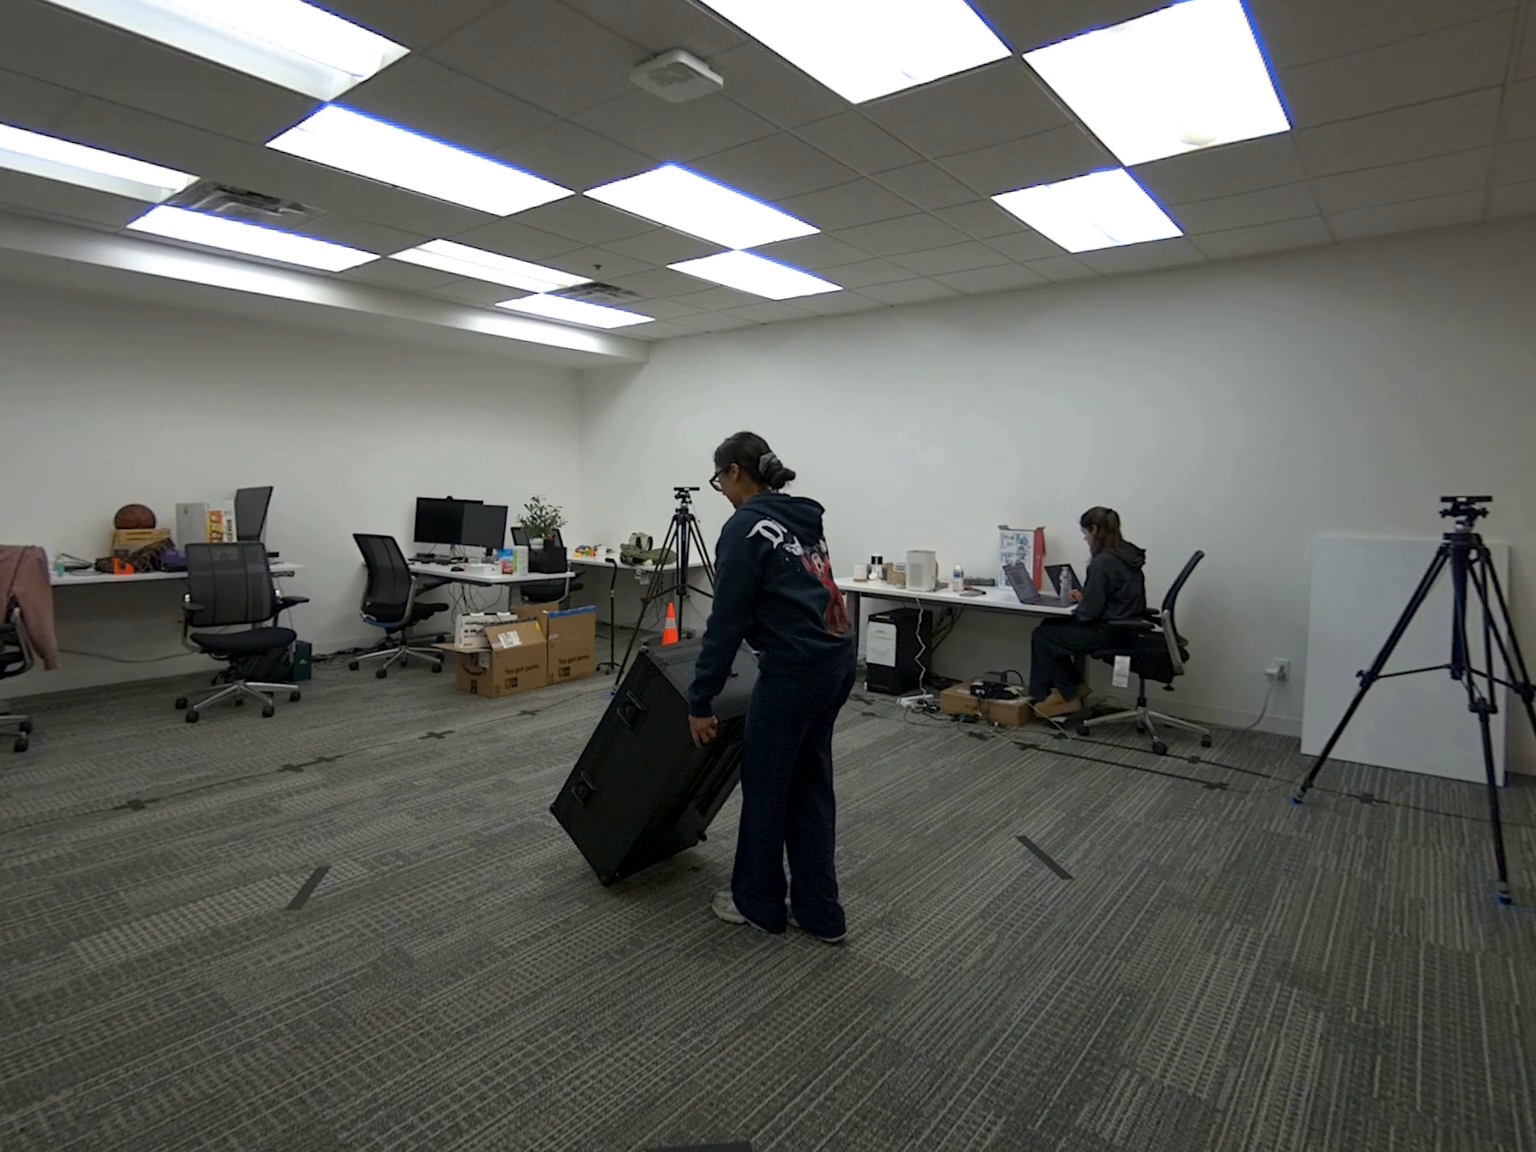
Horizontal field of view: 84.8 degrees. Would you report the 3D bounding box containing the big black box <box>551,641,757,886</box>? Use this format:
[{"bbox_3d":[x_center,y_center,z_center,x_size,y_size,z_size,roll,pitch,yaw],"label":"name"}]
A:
[{"bbox_3d":[-0.363,0.663,3.015,0.410,0.856,0.506,45,27,26],"label":"big black box"}]
